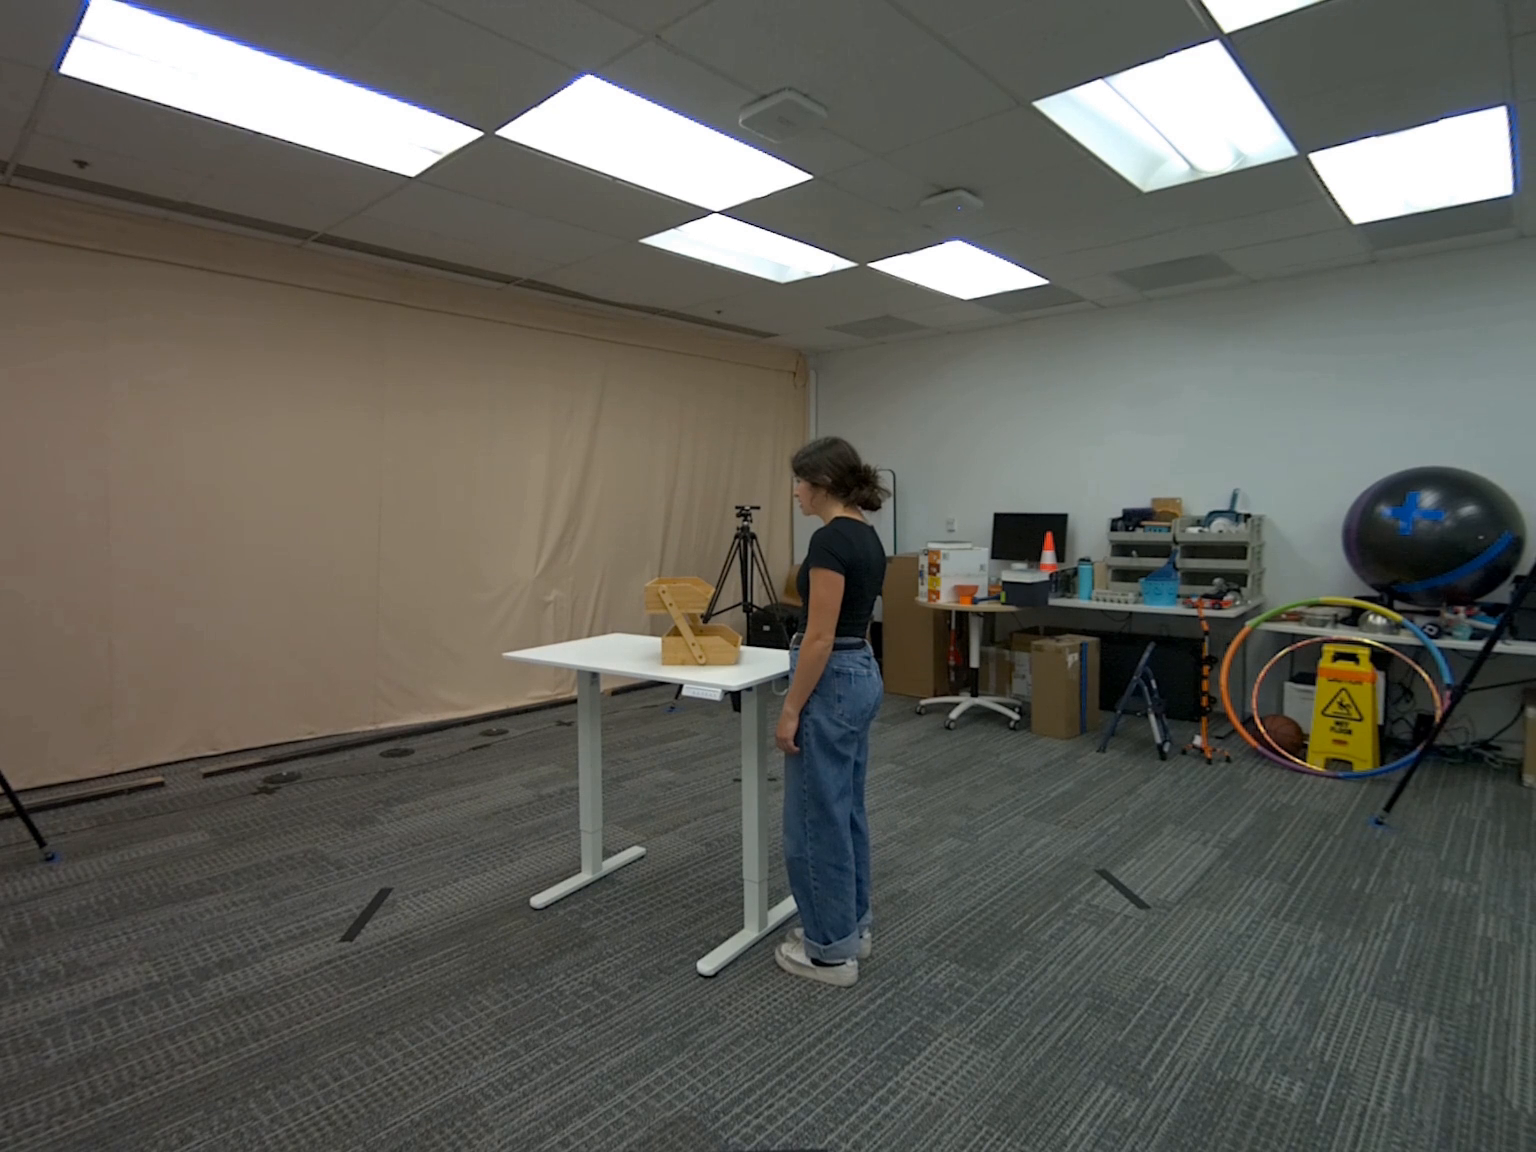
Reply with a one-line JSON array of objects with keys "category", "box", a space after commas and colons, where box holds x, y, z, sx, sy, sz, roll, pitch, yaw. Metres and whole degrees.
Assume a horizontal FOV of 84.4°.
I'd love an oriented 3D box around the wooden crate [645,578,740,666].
[{"category": "wooden crate", "box": [-0.238, 0.149, 2.831, 0.302, 0.273, 0.324, 0, 3, 1]}]
